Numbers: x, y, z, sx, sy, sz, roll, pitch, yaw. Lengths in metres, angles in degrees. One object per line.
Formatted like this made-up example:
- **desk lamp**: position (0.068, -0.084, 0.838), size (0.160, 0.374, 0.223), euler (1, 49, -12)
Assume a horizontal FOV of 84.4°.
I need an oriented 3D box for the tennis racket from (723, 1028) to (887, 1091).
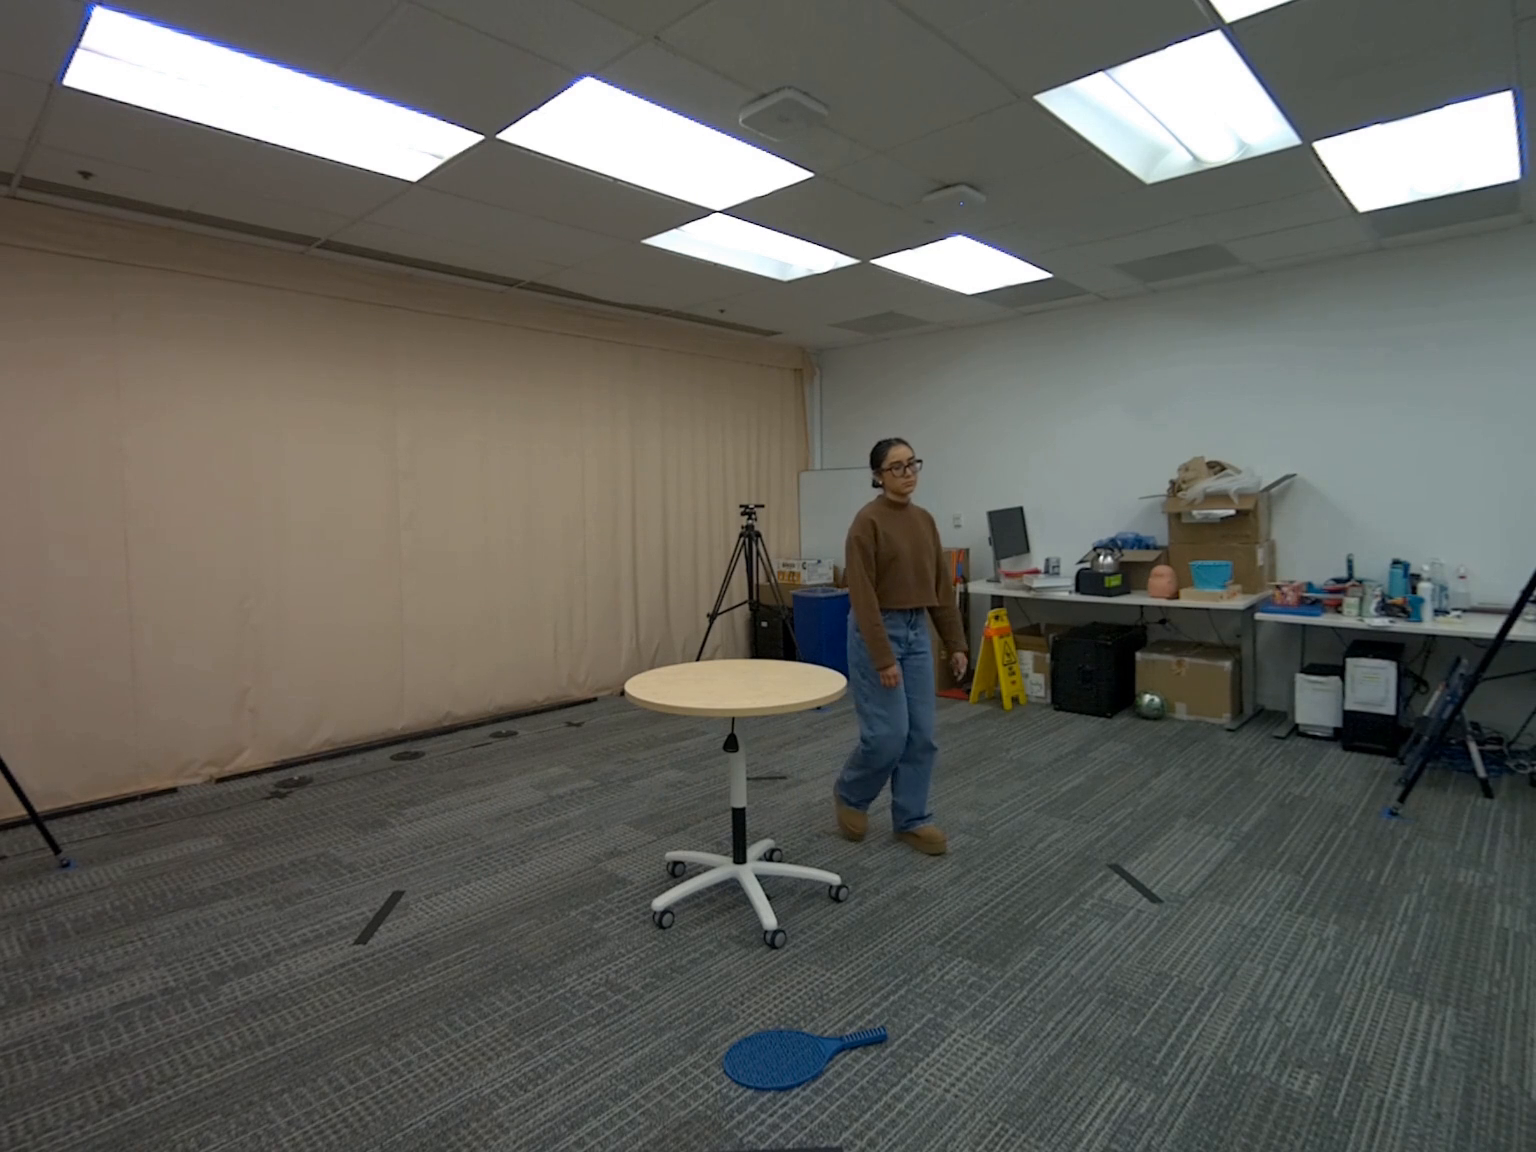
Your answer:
- **tennis racket**: position (0.106, 1.203, 2.119), size (0.427, 0.031, 0.217), euler (-3, 6, -13)
